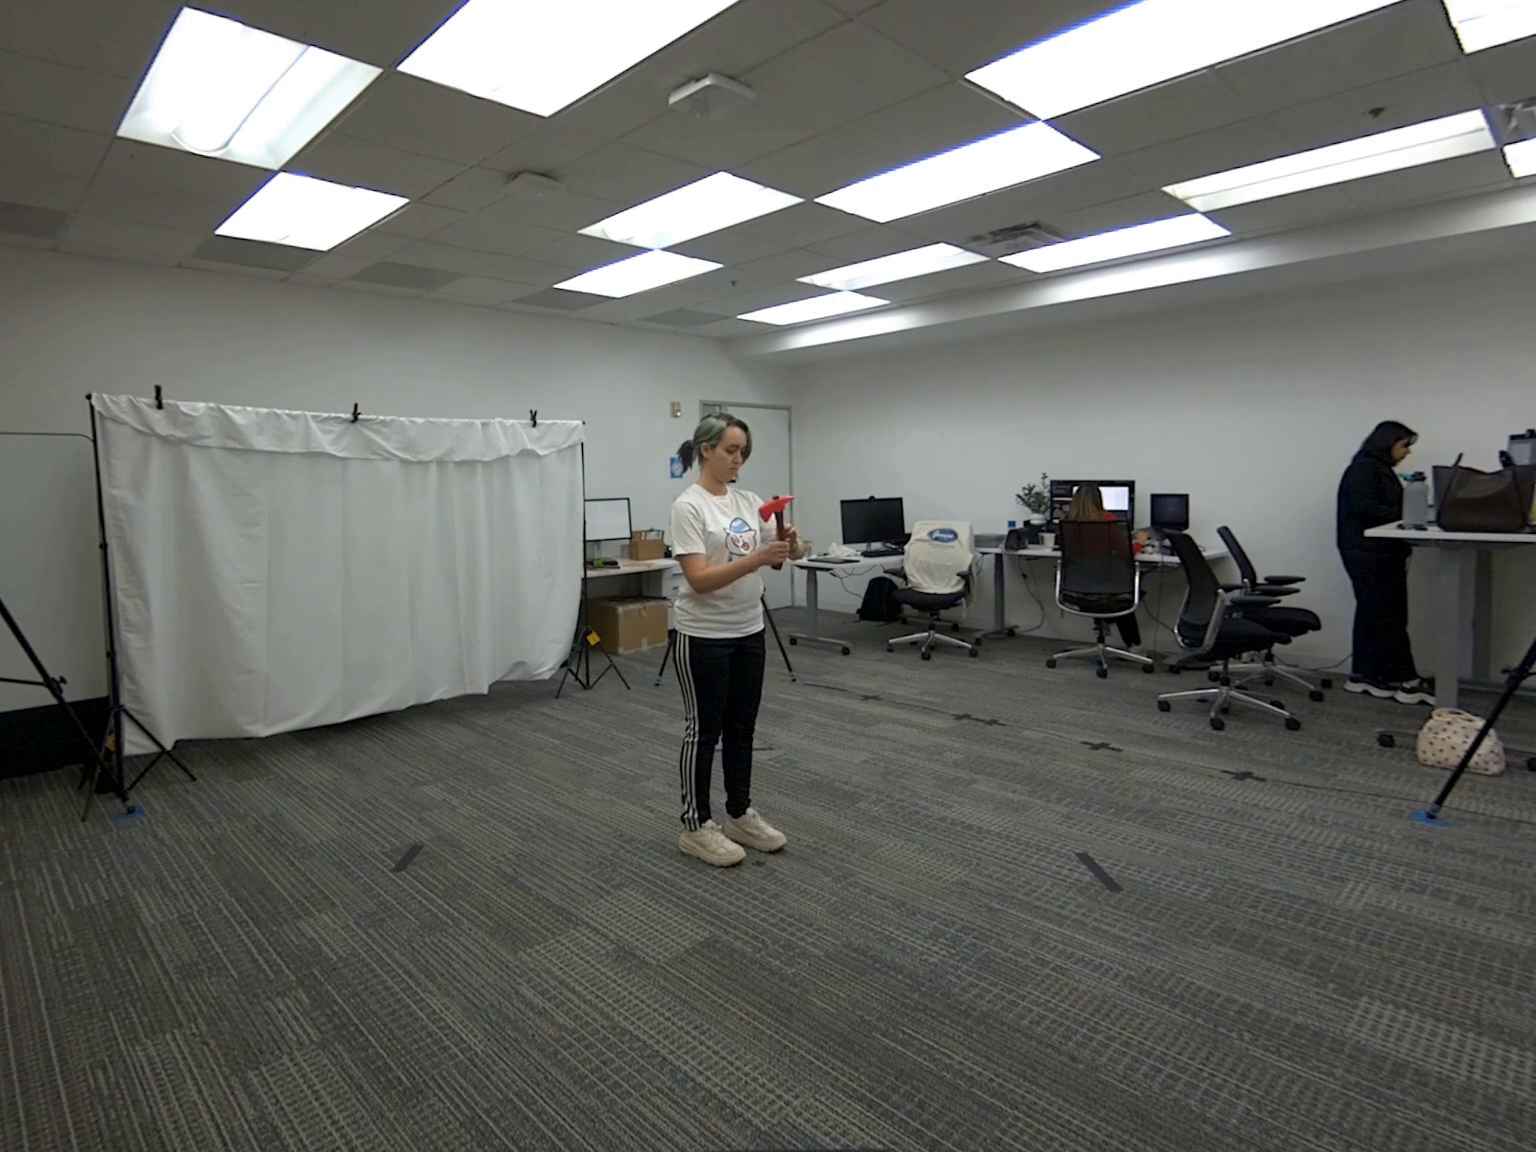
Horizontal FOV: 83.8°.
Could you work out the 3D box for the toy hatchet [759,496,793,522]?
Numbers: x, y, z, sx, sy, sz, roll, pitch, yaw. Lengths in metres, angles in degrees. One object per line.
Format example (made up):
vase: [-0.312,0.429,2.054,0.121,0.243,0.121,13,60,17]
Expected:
toy hatchet: [0.012,-0.140,2.886,0.128,0.266,0.031,-4,21,-29]
